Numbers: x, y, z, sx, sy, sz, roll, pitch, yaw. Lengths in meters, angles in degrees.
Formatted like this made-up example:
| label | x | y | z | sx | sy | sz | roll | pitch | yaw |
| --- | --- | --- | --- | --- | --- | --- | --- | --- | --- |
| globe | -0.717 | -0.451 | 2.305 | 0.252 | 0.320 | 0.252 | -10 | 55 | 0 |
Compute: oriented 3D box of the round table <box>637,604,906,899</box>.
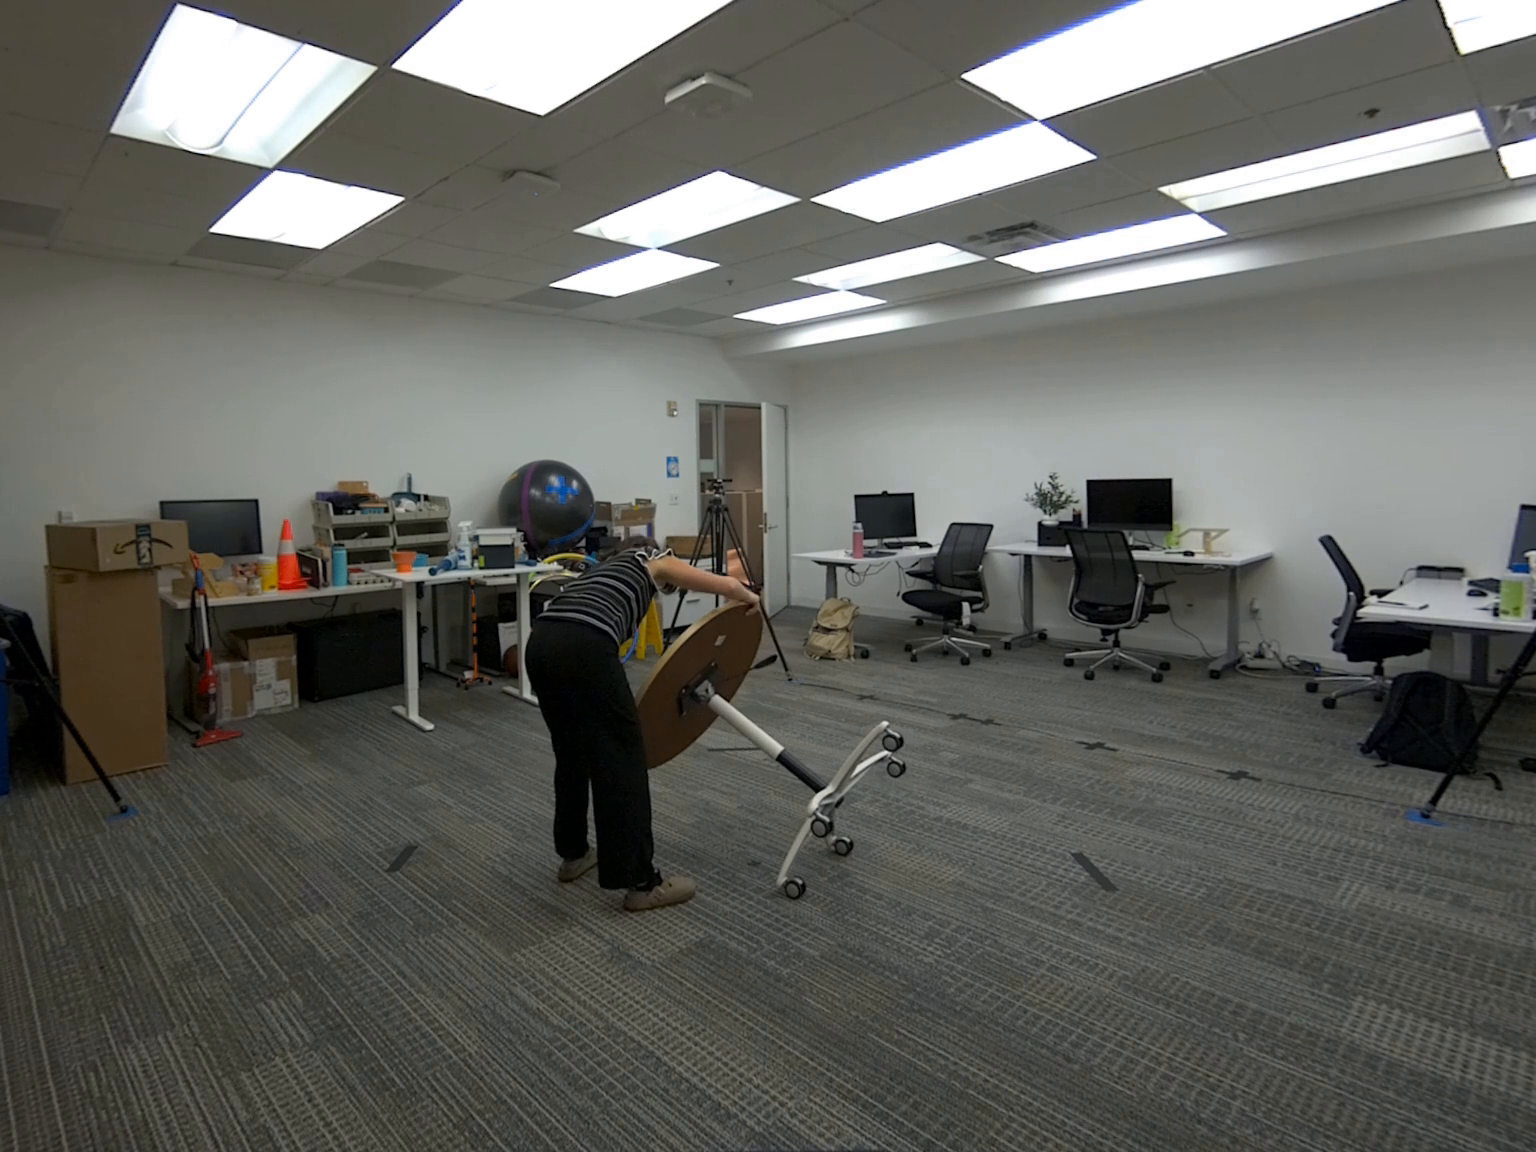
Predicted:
| label | x | y | z | sx | sy | sz | roll | pitch | yaw |
| --- | --- | --- | --- | --- | --- | --- | --- | --- | --- |
| round table | 0.007 | 0.624 | 3.099 | 0.818 | 0.758 | 0.747 | 34 | 21 | 24 |
